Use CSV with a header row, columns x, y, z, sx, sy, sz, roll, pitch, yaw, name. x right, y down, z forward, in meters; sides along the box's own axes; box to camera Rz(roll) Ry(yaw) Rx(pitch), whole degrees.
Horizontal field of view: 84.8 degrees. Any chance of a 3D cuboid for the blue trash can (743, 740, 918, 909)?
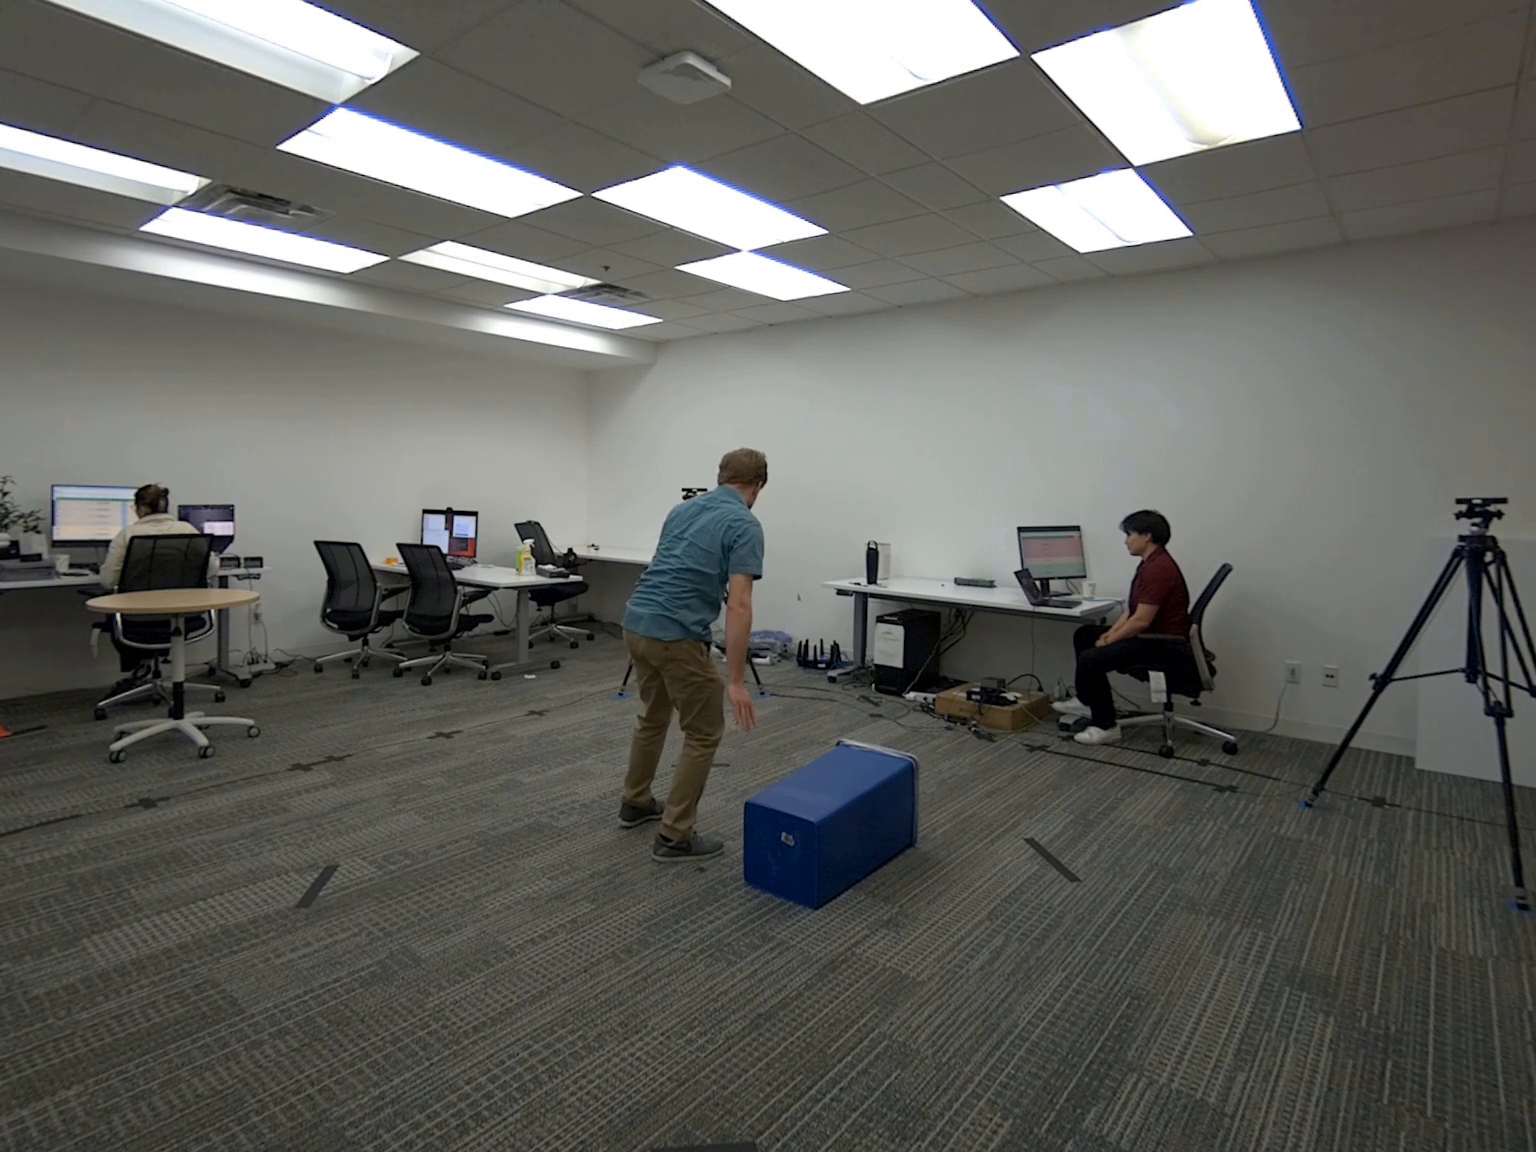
x,y,z,sx,sy,sz,roll,pitch,yaw,name
0.239,0.913,3.165,0.386,0.375,0.695,5,9,35,blue trash can
